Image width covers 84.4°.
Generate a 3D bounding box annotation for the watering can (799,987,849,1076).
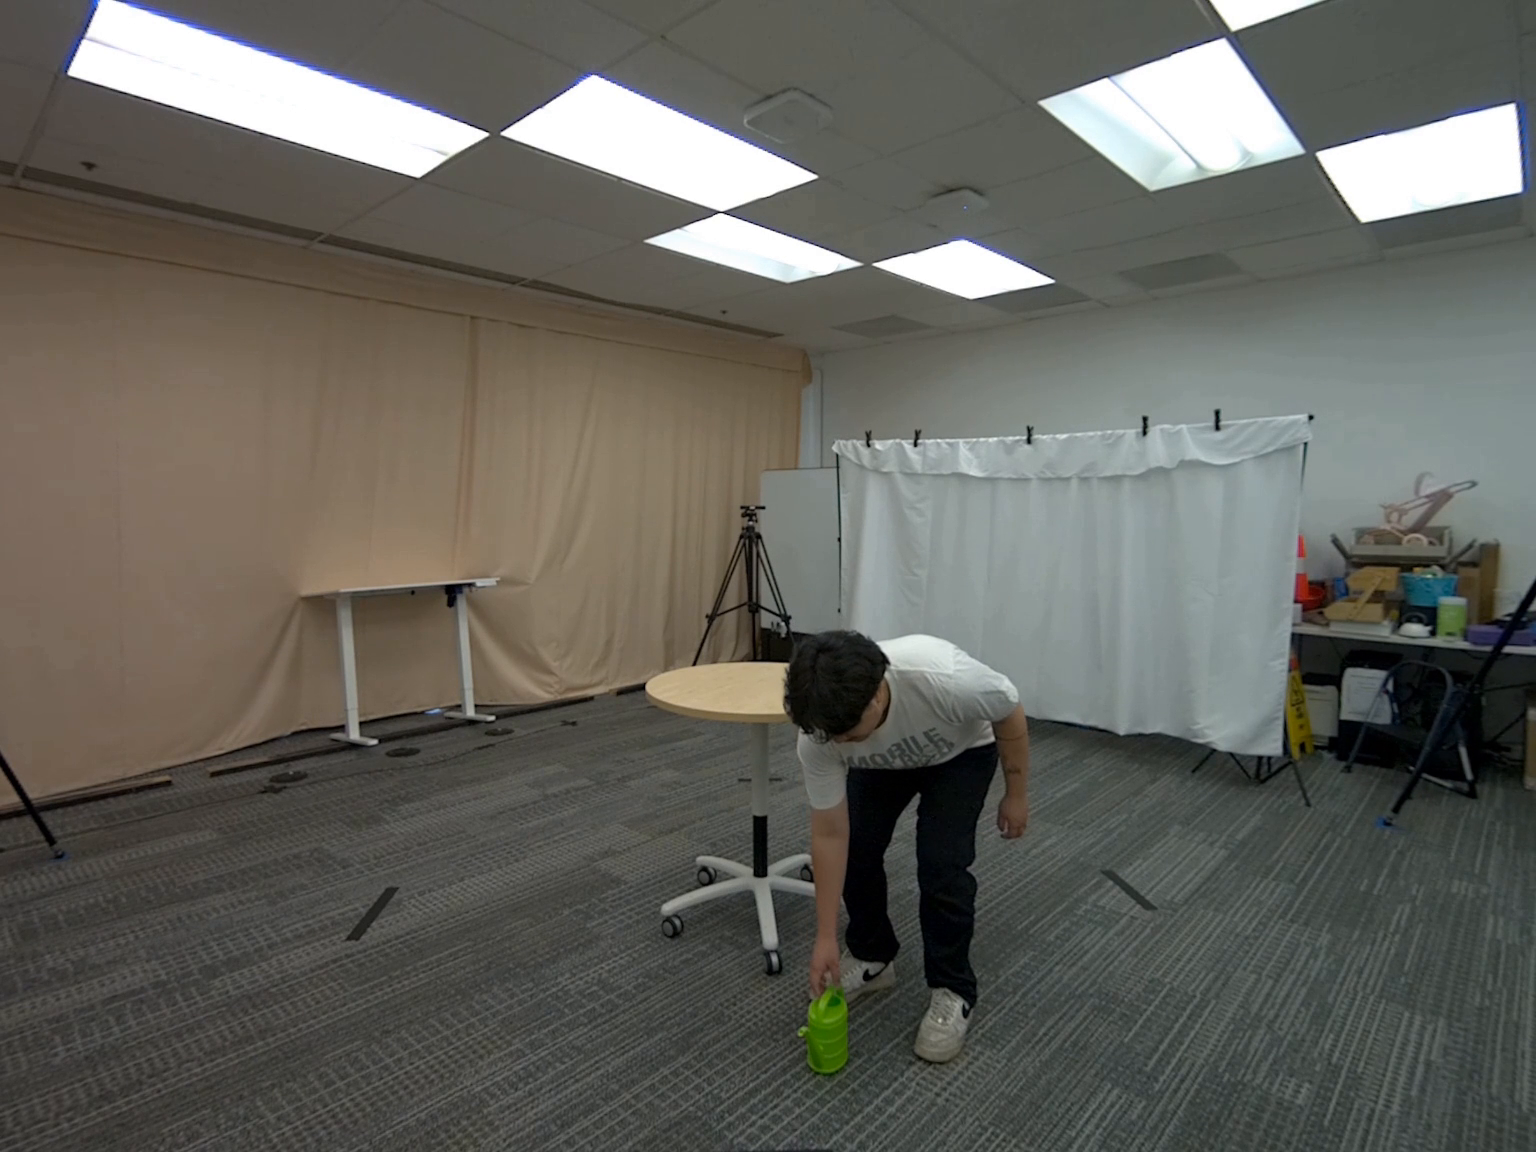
[{"bbox_3d":[0.132,1.136,2.068,0.101,0.177,0.270,1,2,38],"label":"watering can"}]
